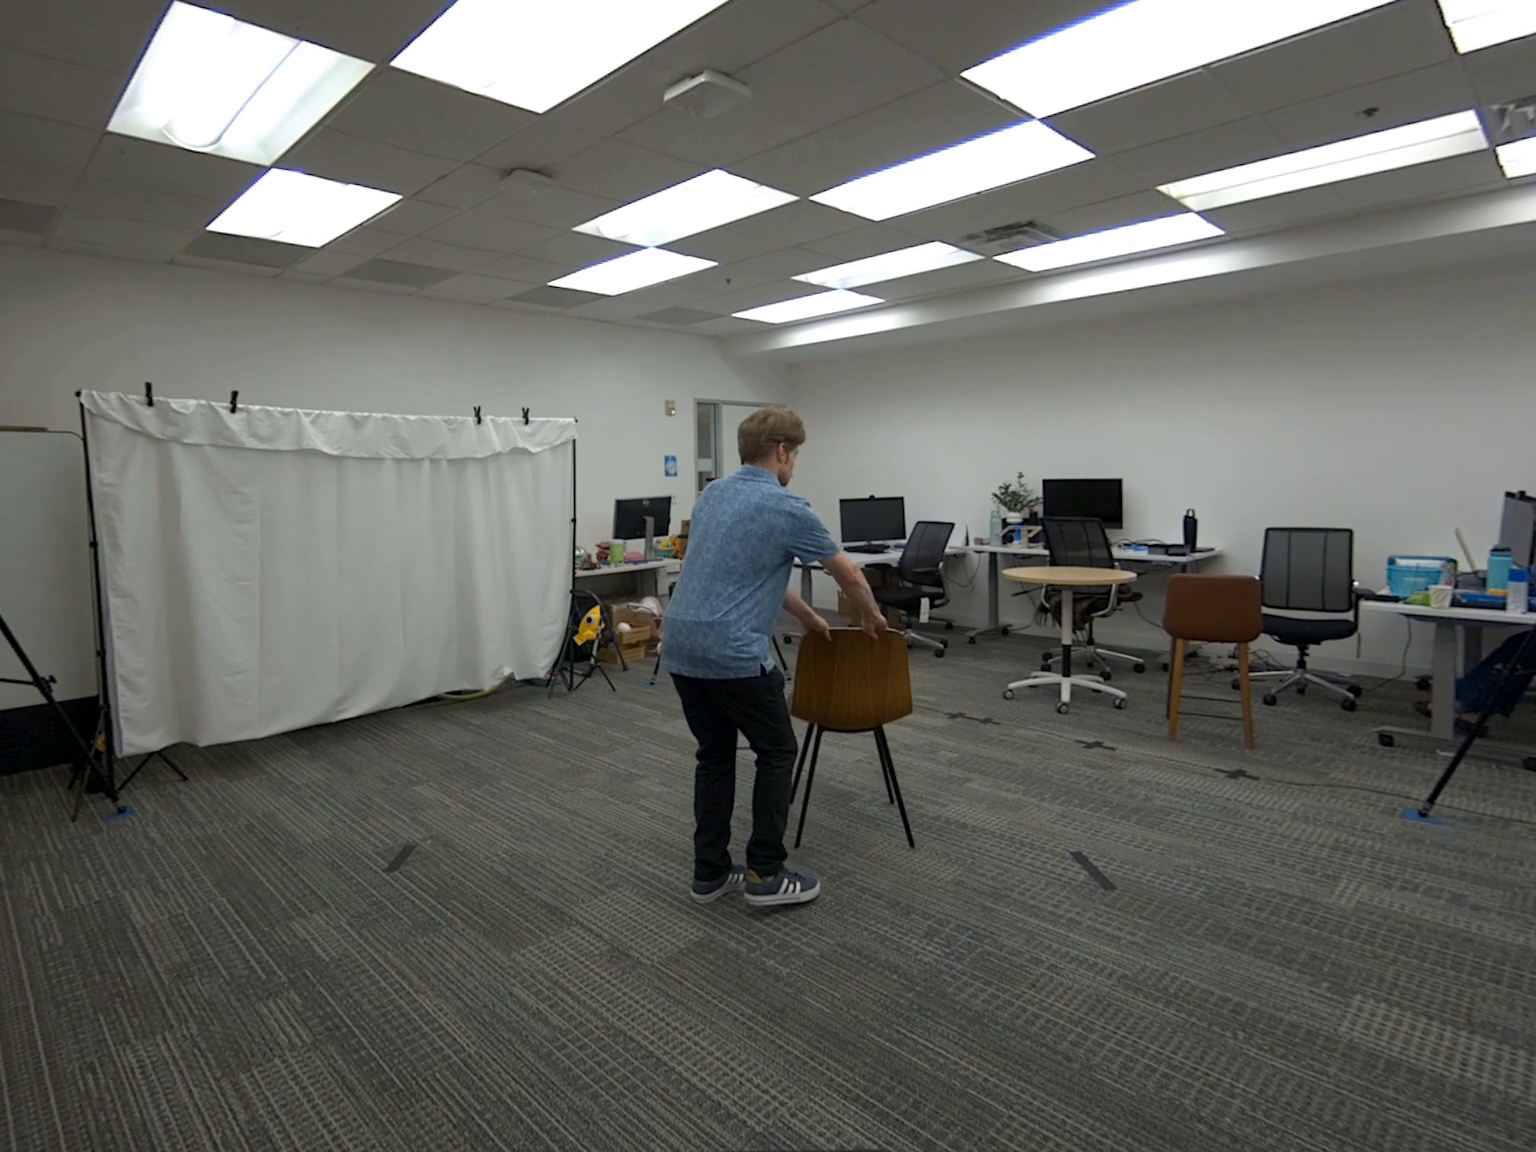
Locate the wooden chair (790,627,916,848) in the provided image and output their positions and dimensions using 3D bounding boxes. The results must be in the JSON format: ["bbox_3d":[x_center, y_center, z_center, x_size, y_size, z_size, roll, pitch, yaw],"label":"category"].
[{"bbox_3d":[0.312,0.573,3.411,0.478,0.871,0.527,-1,8,0],"label":"wooden chair"}]
